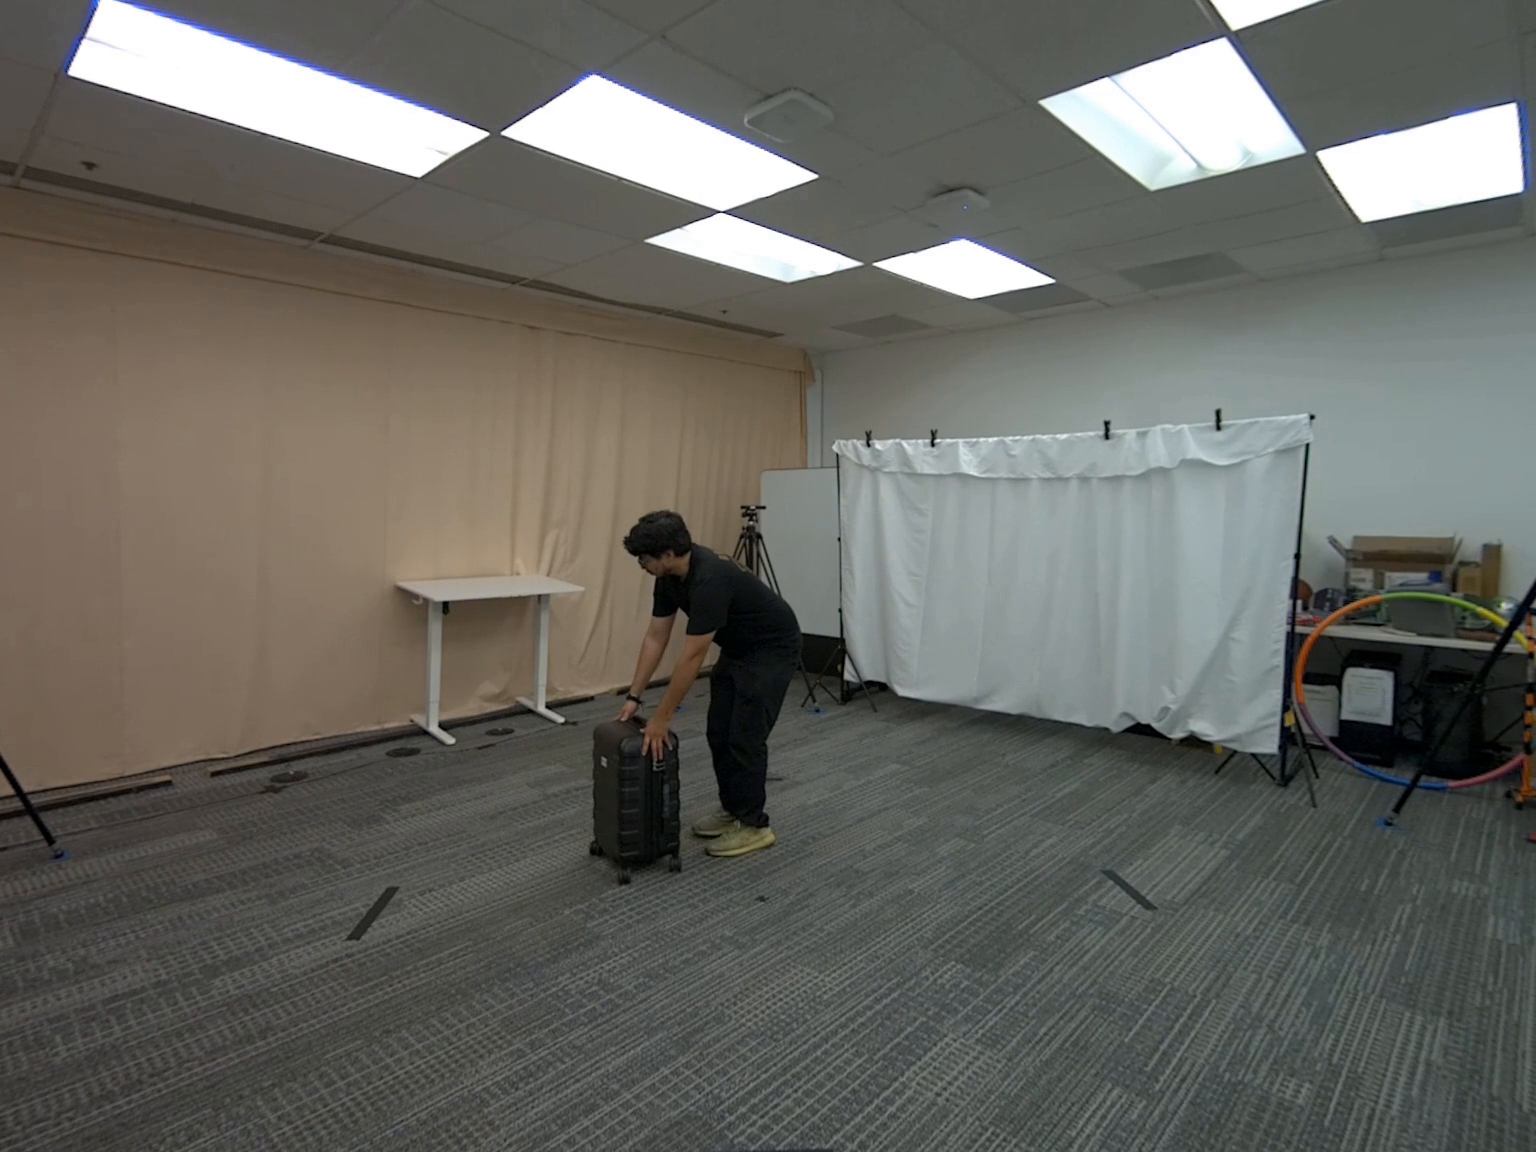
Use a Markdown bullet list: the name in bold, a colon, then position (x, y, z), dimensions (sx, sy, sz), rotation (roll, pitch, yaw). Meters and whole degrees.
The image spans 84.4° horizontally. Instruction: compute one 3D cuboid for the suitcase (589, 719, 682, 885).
- **suitcase**: position (-0.523, 0.847, 3.299), dimensions (0.241, 0.548, 0.386), rotation (-1, 3, -31)
